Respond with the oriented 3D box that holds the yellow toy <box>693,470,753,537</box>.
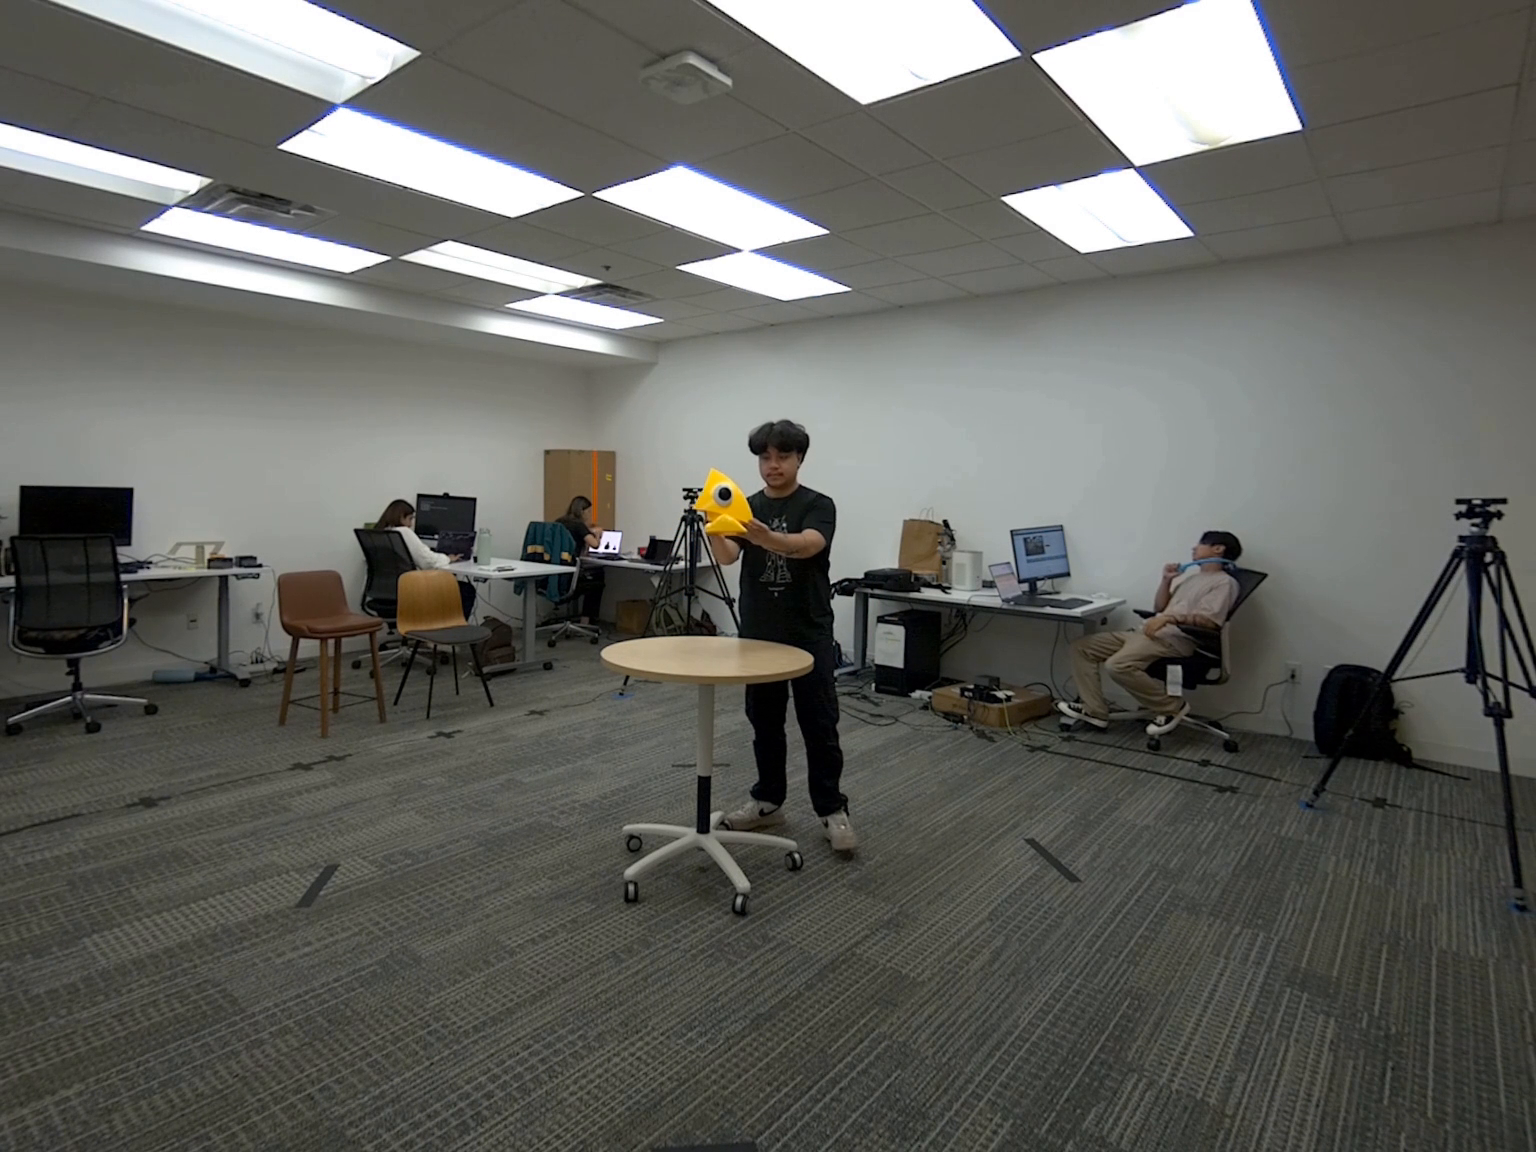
[{"bbox_3d":[-0.147,-0.267,2.959,0.197,0.231,0.200,-2,-3,18],"label":"yellow toy"}]
